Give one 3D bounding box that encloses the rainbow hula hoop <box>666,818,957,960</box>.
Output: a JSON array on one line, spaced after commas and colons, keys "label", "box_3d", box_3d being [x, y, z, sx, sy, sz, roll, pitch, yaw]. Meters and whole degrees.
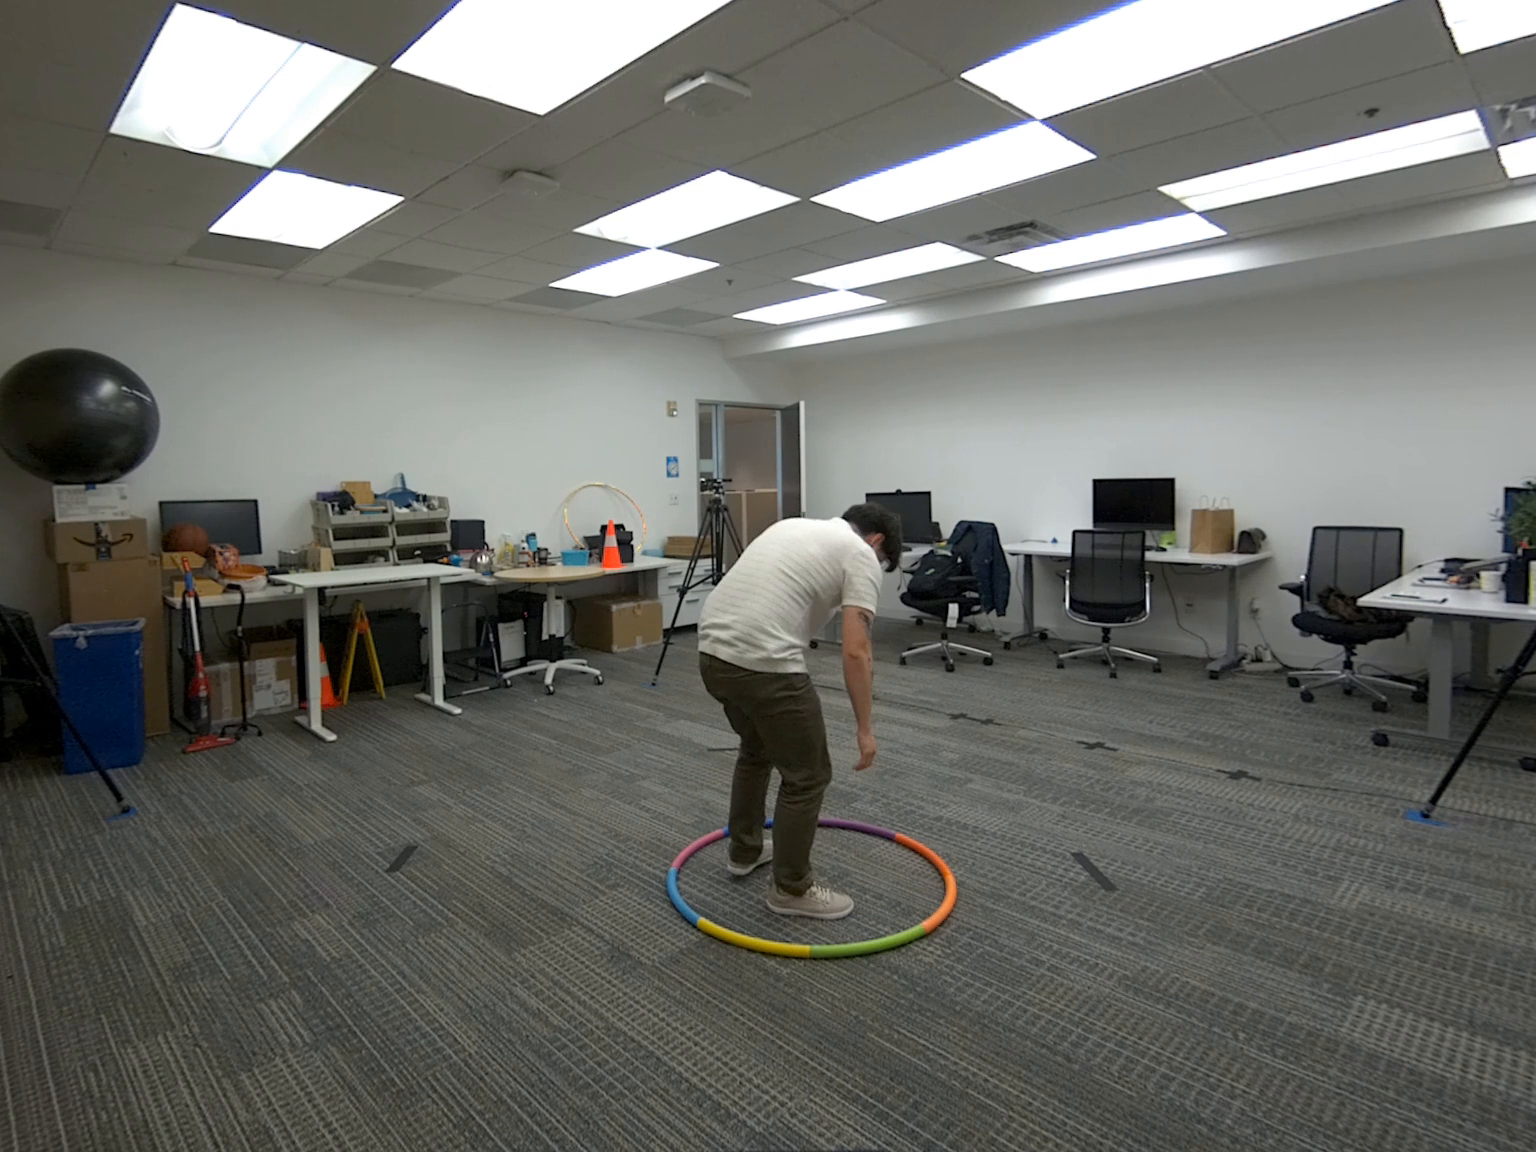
[{"label": "rainbow hula hoop", "box_3d": [0.143, 1.028, 2.969, 0.978, 0.035, 0.984, -1, 6, -2]}]
